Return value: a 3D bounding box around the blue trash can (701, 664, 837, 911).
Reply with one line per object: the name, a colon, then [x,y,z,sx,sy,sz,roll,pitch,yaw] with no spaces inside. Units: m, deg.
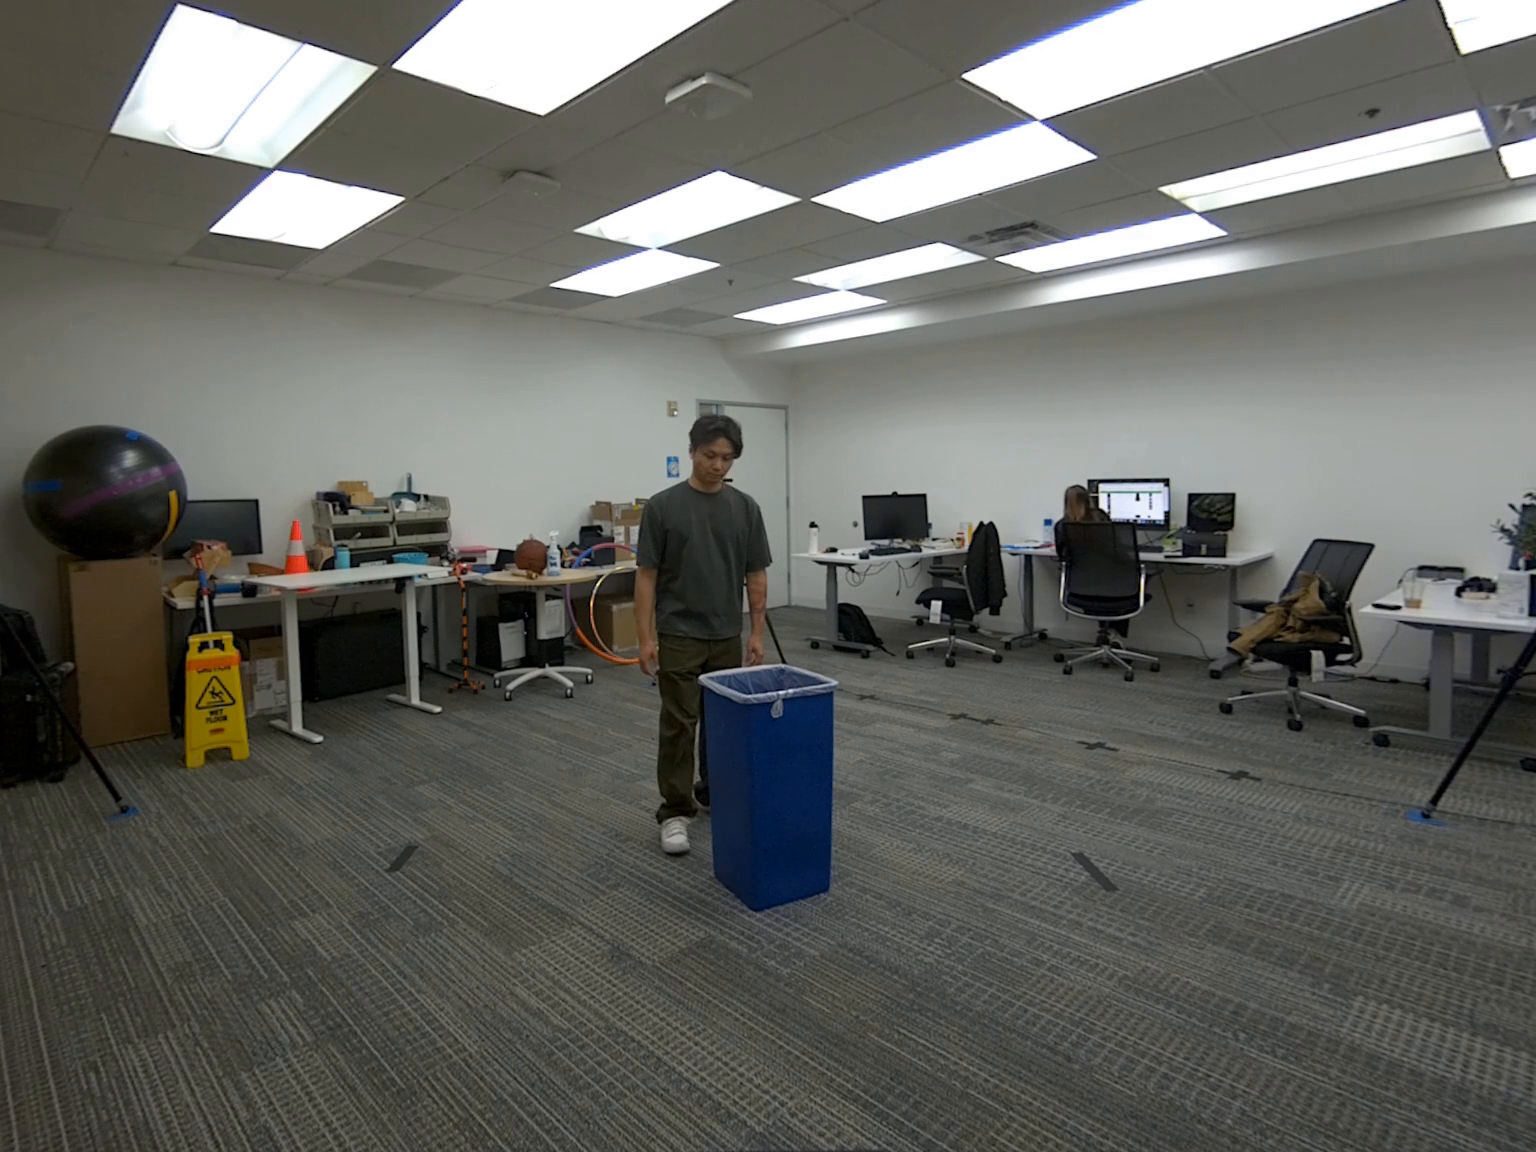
blue trash can: [0.009,0.703,2.941,0.365,0.711,0.388,-4,4,-29]
